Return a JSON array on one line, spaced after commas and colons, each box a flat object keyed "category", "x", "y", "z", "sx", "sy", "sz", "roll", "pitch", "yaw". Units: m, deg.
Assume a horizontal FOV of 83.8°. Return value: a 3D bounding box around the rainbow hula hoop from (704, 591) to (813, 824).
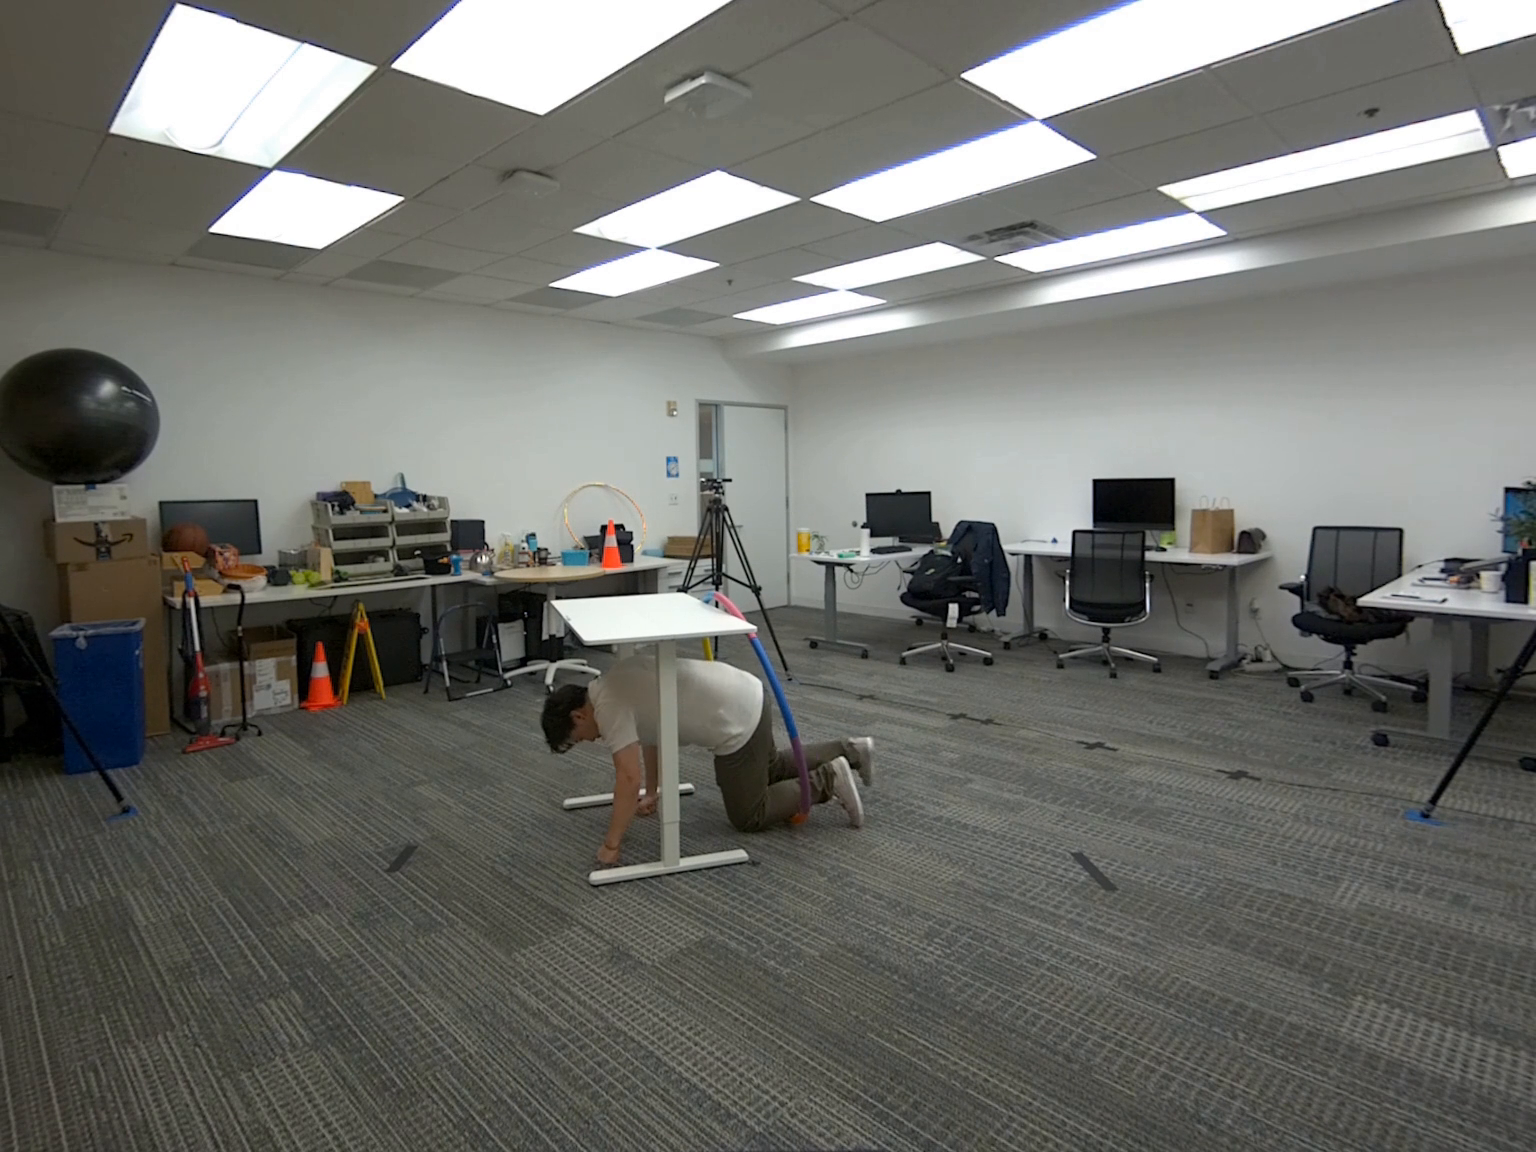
[{"category": "rainbow hula hoop", "x": -0.068, "y": 0.528, "z": 3.496, "sx": 0.035, "sy": 0.969, "sz": 0.999, "roll": -19, "pitch": 10, "yaw": -18}]
